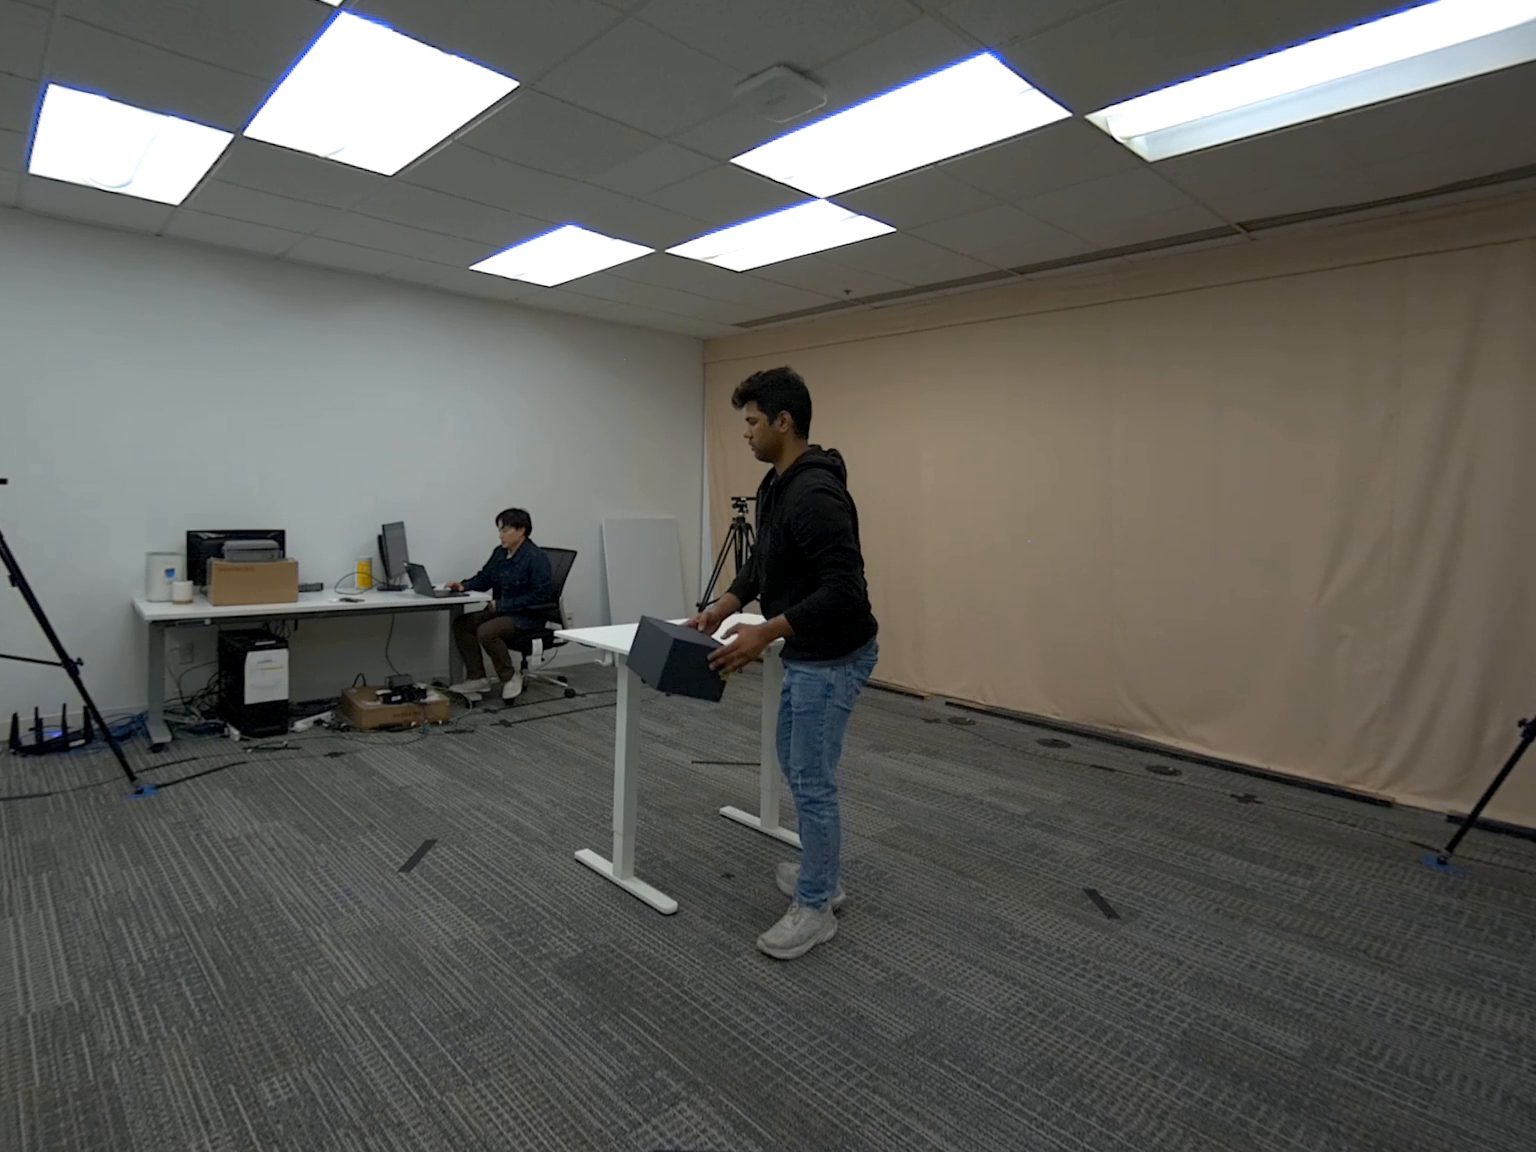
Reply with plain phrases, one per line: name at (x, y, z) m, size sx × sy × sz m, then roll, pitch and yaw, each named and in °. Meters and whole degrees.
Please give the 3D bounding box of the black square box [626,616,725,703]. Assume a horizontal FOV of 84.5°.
black square box at (-0.260, 0.250, 2.453) m, size 0.211 × 0.156 × 0.234 m, roll 17°, pitch 3°, yaw -34°
